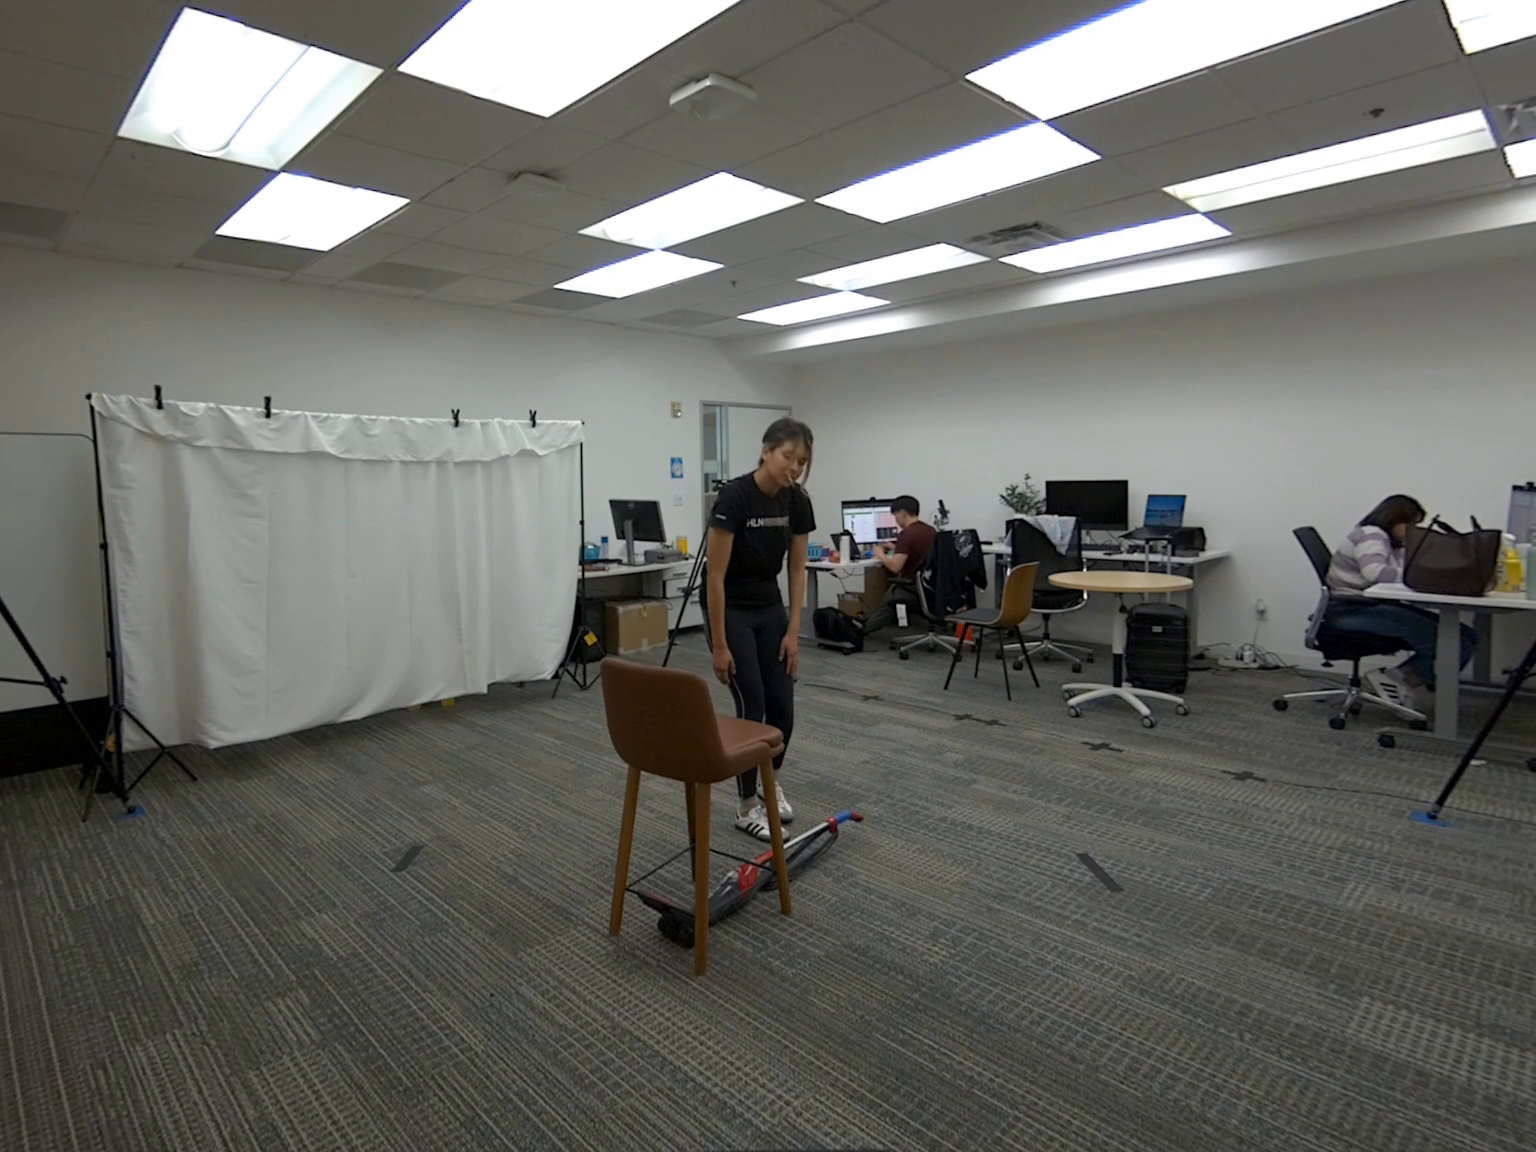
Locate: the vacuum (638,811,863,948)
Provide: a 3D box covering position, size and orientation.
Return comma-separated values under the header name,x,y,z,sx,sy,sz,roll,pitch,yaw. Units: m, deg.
name,x,y,z,sx,sy,sz,roll,pitch,yaw
vacuum,0.042,1.006,2.974,0.260,0.143,1.022,4,7,41
